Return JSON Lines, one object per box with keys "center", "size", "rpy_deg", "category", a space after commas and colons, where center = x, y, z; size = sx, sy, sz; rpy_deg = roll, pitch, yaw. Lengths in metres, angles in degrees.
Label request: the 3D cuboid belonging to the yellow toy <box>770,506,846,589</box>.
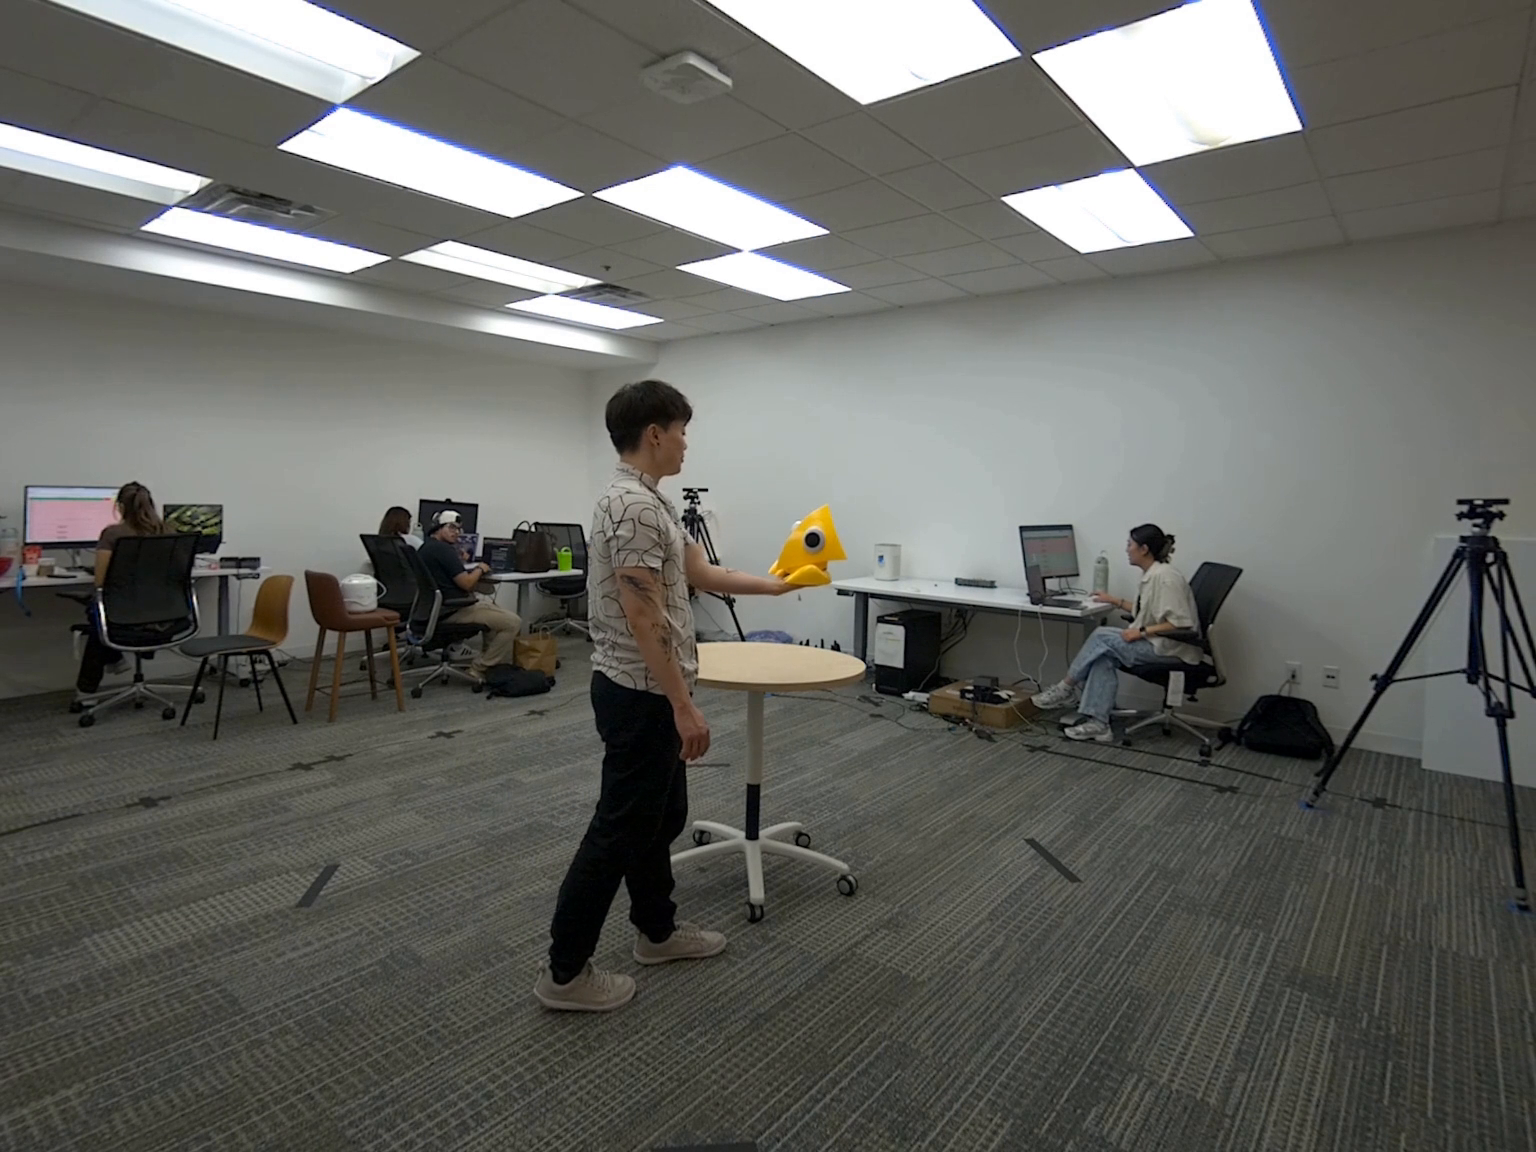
{"center": [0.115, -0.111, 2.624], "size": [0.188, 0.229, 0.211], "rpy_deg": [2, 11, -24], "category": "yellow toy"}
